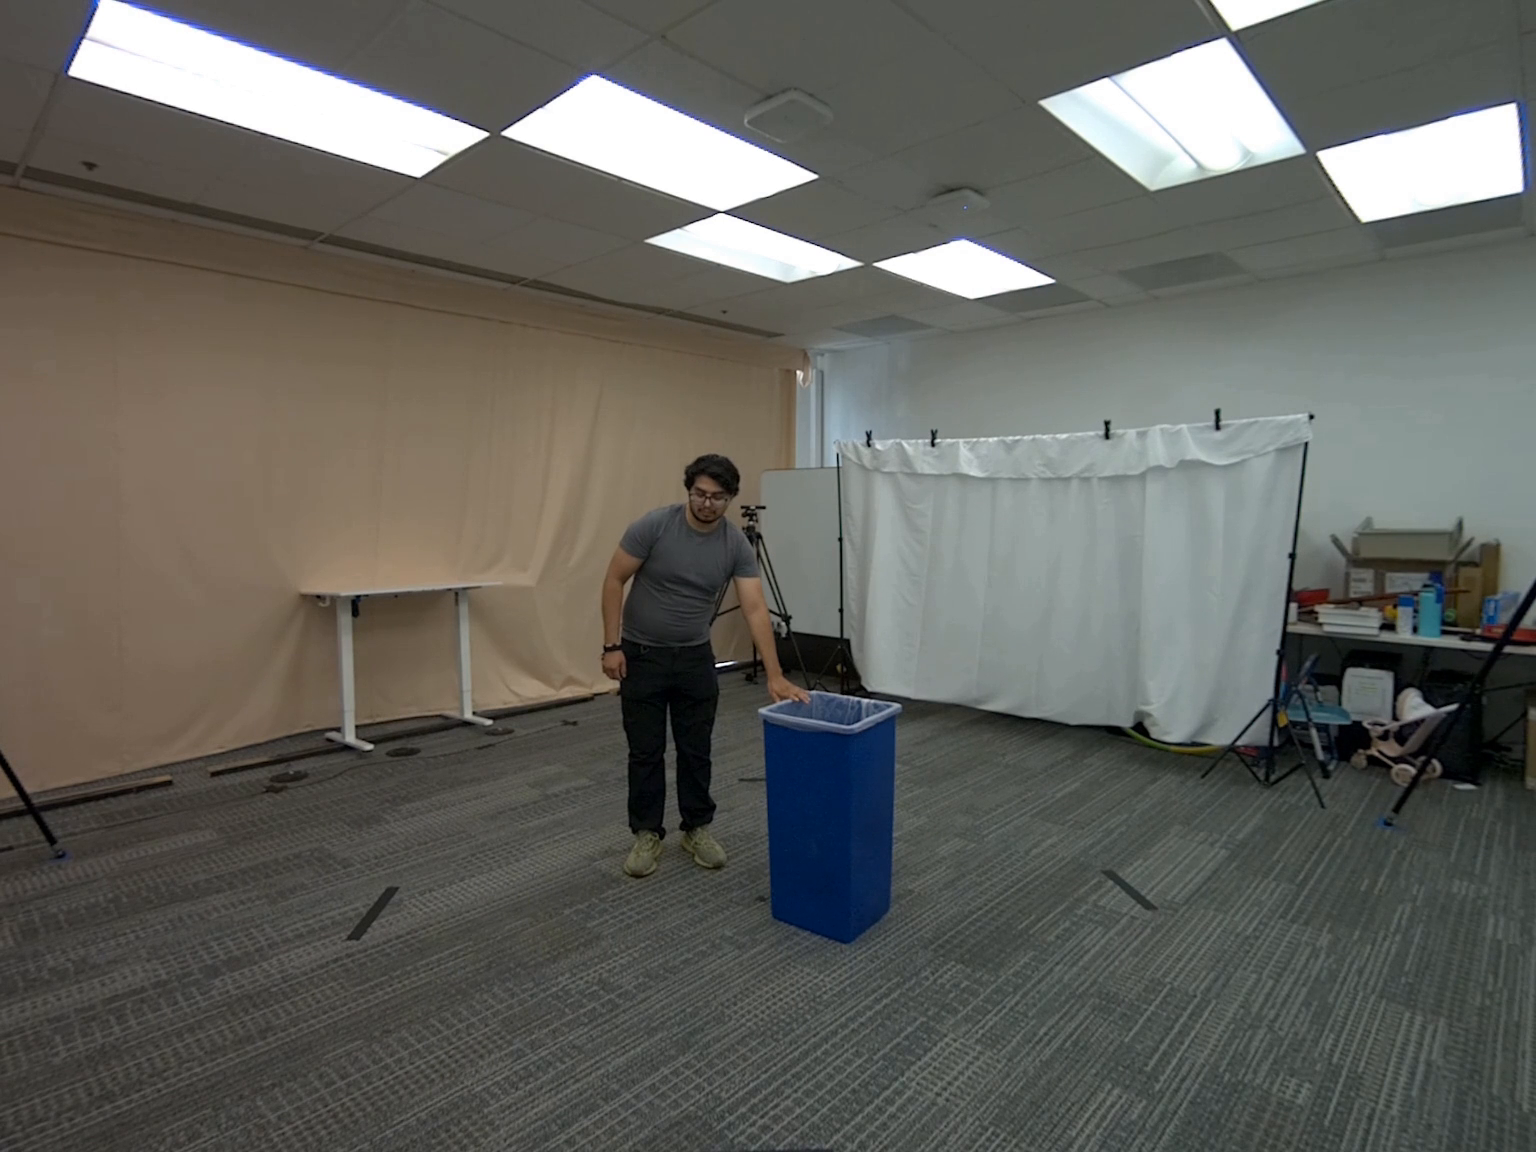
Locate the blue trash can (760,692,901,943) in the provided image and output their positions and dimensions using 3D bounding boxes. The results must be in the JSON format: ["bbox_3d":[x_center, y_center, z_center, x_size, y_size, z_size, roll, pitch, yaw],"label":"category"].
[{"bbox_3d":[0.216,0.796,2.846,0.390,0.712,0.363,2,4,36],"label":"blue trash can"}]
